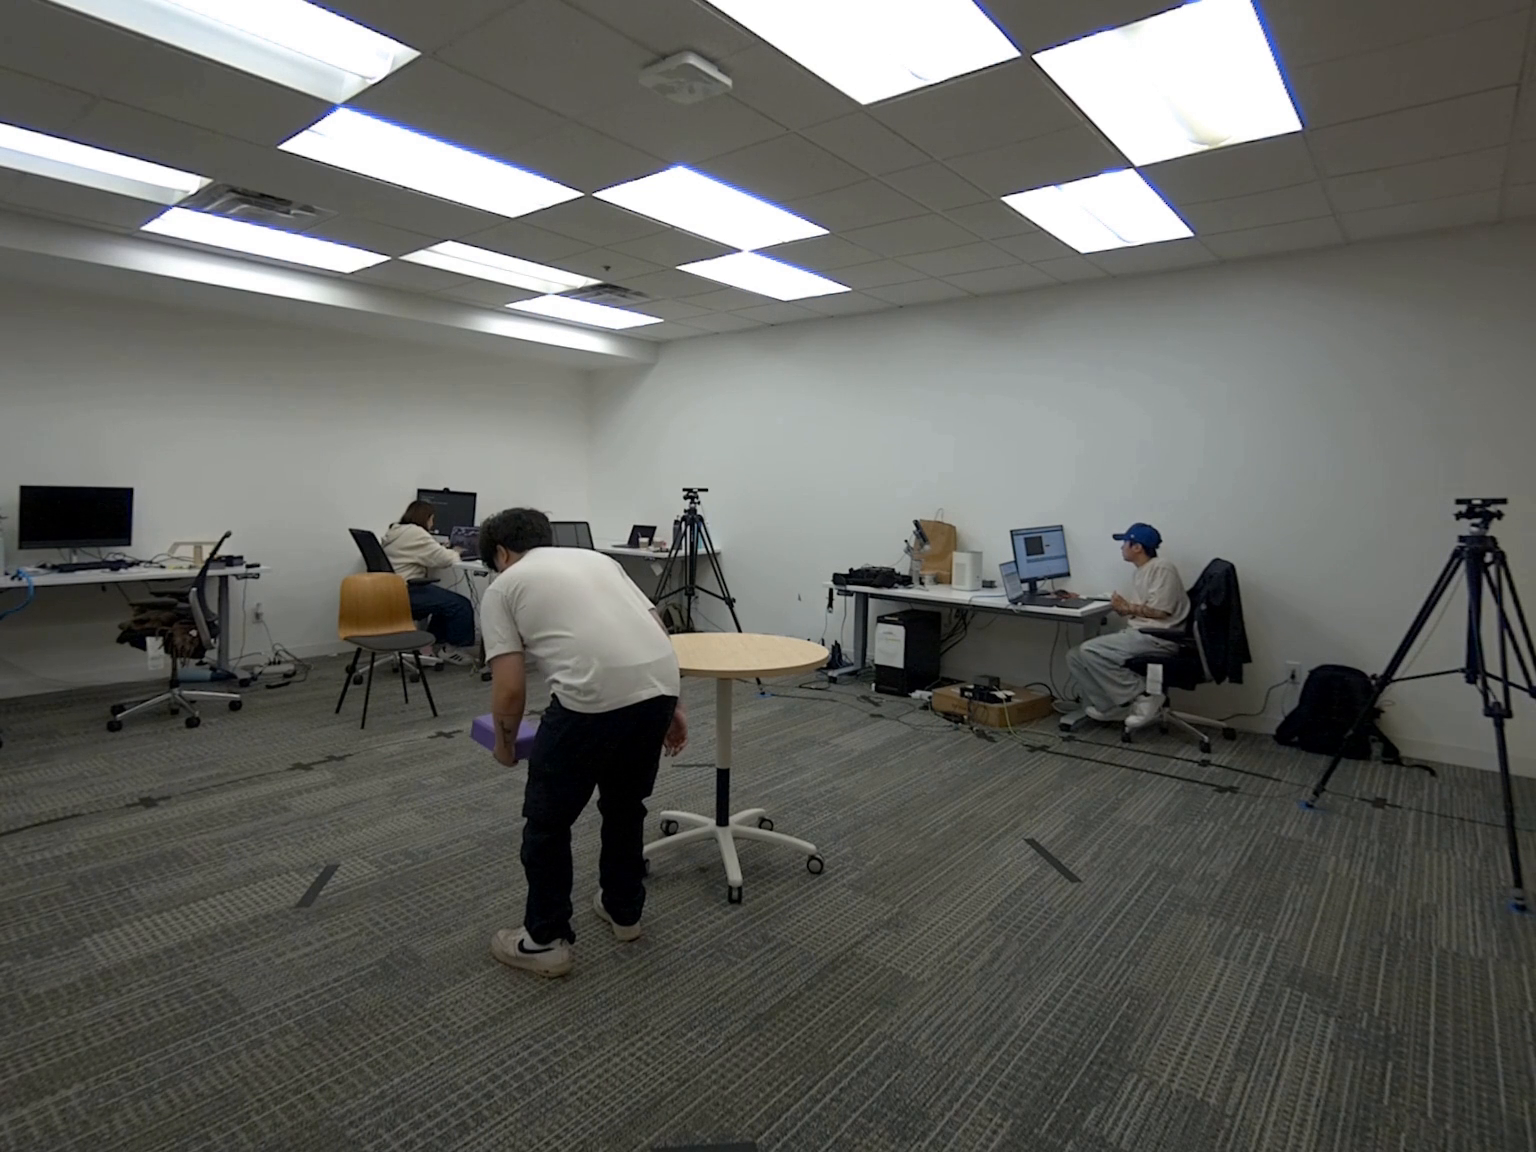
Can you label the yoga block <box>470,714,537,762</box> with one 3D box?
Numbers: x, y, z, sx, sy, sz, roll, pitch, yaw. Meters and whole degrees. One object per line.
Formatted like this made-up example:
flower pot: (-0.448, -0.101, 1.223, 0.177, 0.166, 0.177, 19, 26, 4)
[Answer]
yoga block: (-0.863, 0.525, 2.801, 0.238, 0.076, 0.144, 14, 11, 36)
